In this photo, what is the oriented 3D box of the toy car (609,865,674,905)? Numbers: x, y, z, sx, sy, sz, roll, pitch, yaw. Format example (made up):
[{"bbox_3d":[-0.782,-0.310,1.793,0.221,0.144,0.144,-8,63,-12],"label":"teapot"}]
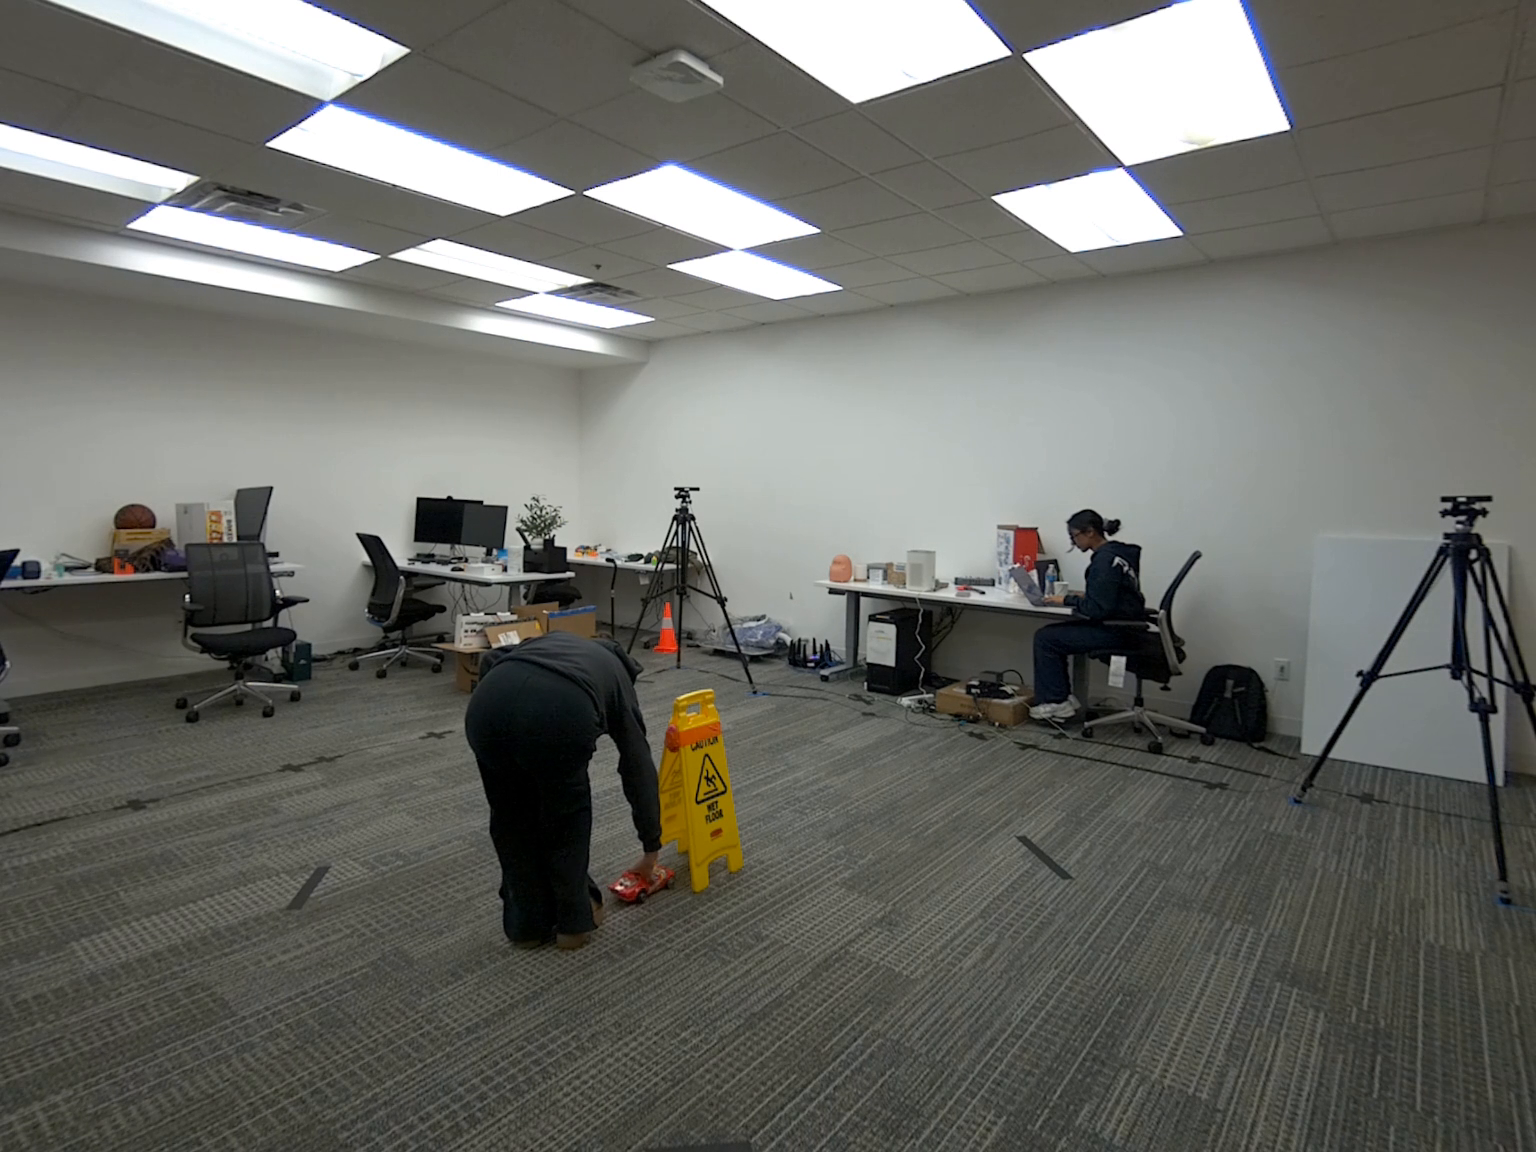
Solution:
[{"bbox_3d":[-0.440,1.054,2.909,0.134,0.083,0.245,4,-6,40],"label":"toy car"}]
